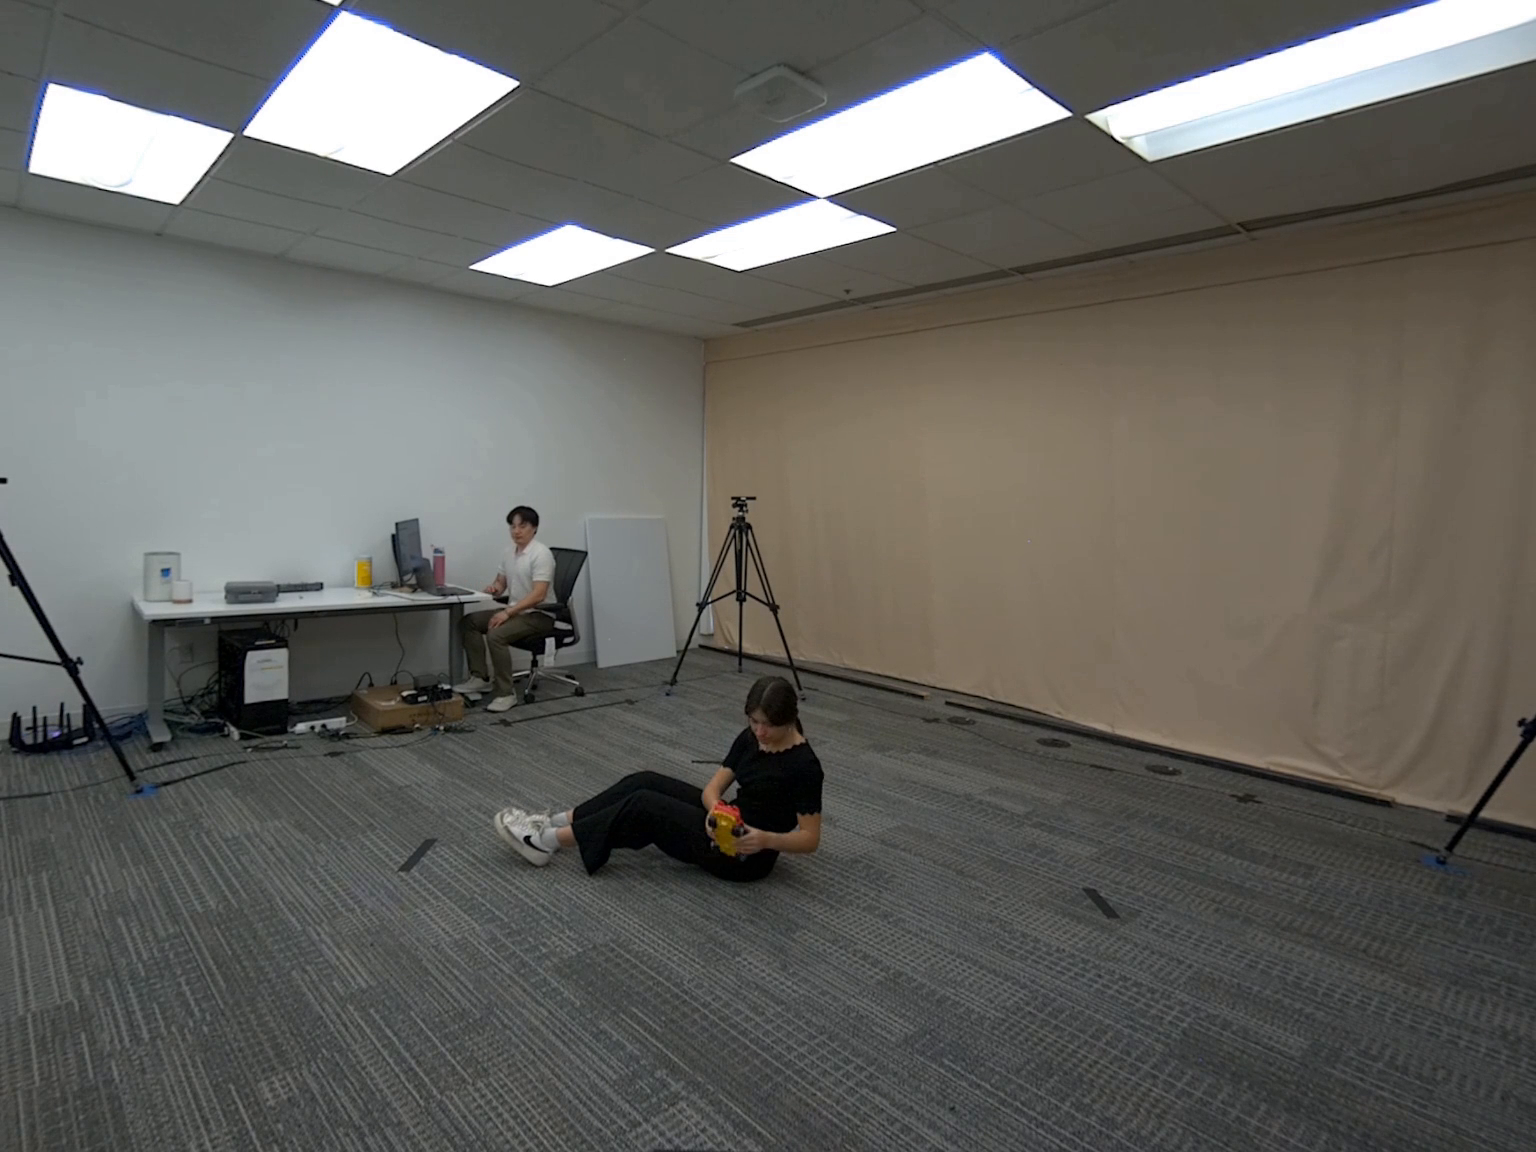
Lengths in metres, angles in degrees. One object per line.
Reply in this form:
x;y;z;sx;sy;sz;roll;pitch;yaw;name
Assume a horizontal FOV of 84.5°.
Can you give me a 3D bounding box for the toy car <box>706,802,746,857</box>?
-0.143;0.866;2.855;0.133;0.250;0.083;15;32;25;toy car
